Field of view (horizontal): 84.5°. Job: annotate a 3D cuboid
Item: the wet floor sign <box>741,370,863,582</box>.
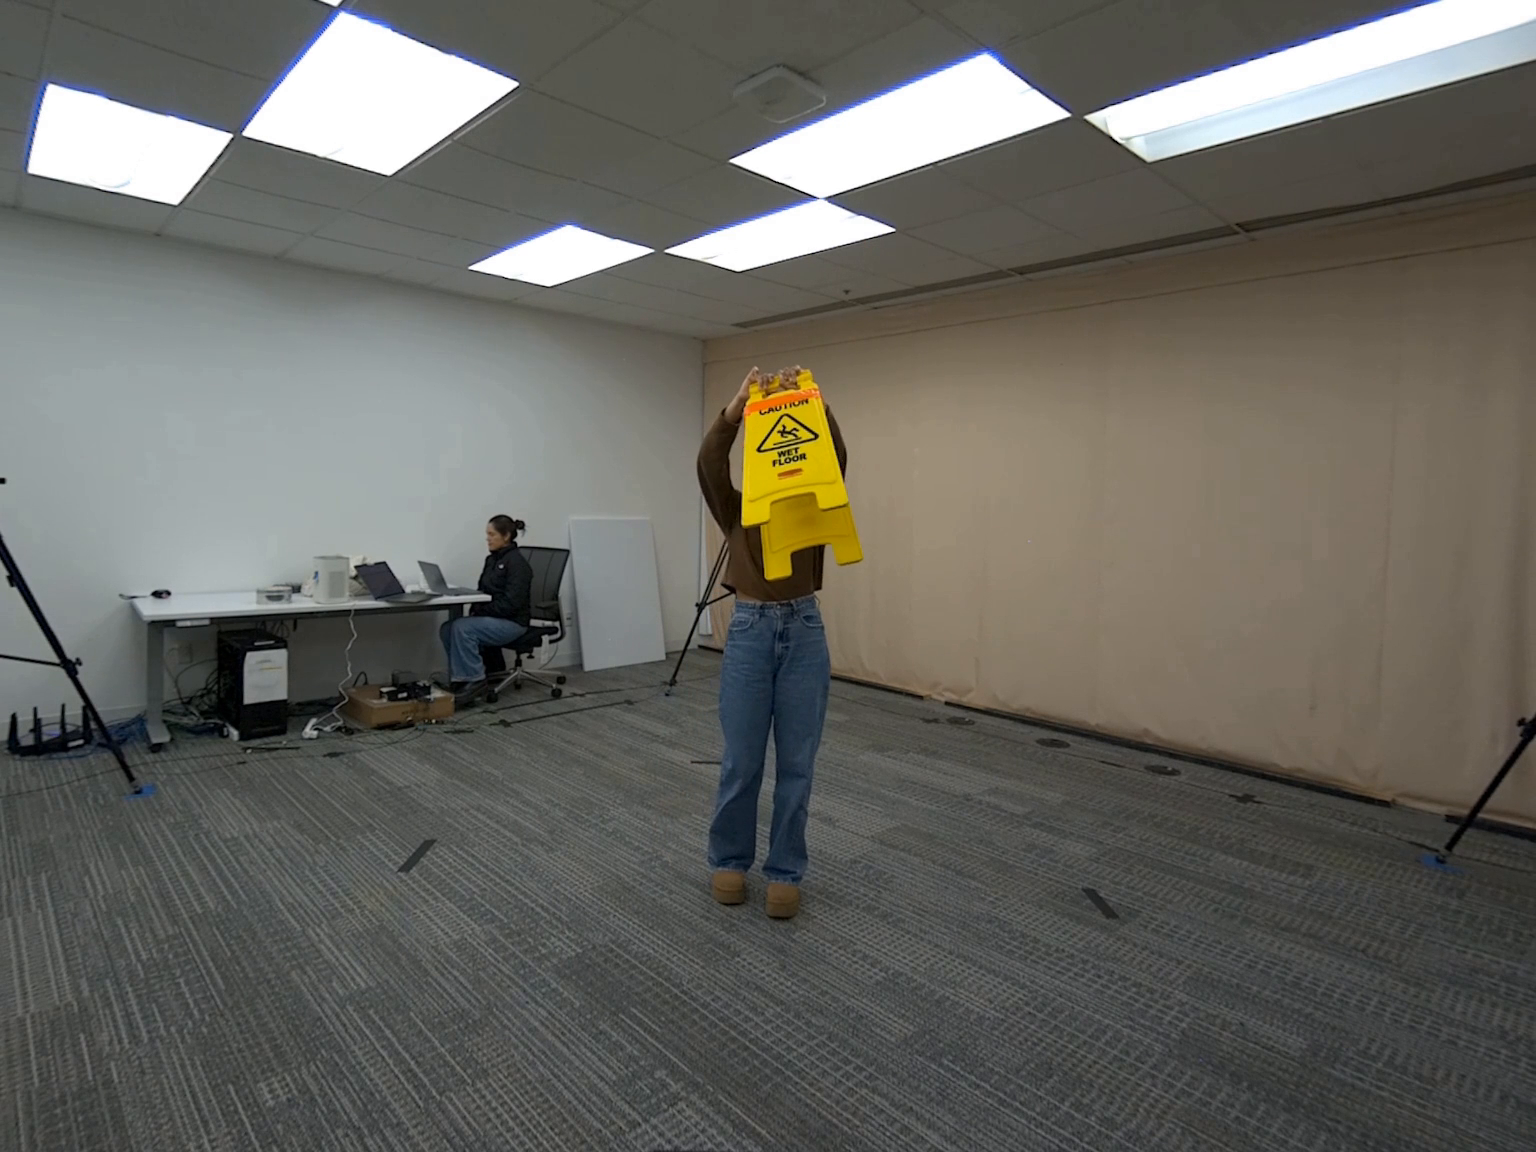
[{"bbox_3d":[0.056,-0.345,2.419,0.284,0.661,0.281,-11,-35,8],"label":"wet floor sign"}]
